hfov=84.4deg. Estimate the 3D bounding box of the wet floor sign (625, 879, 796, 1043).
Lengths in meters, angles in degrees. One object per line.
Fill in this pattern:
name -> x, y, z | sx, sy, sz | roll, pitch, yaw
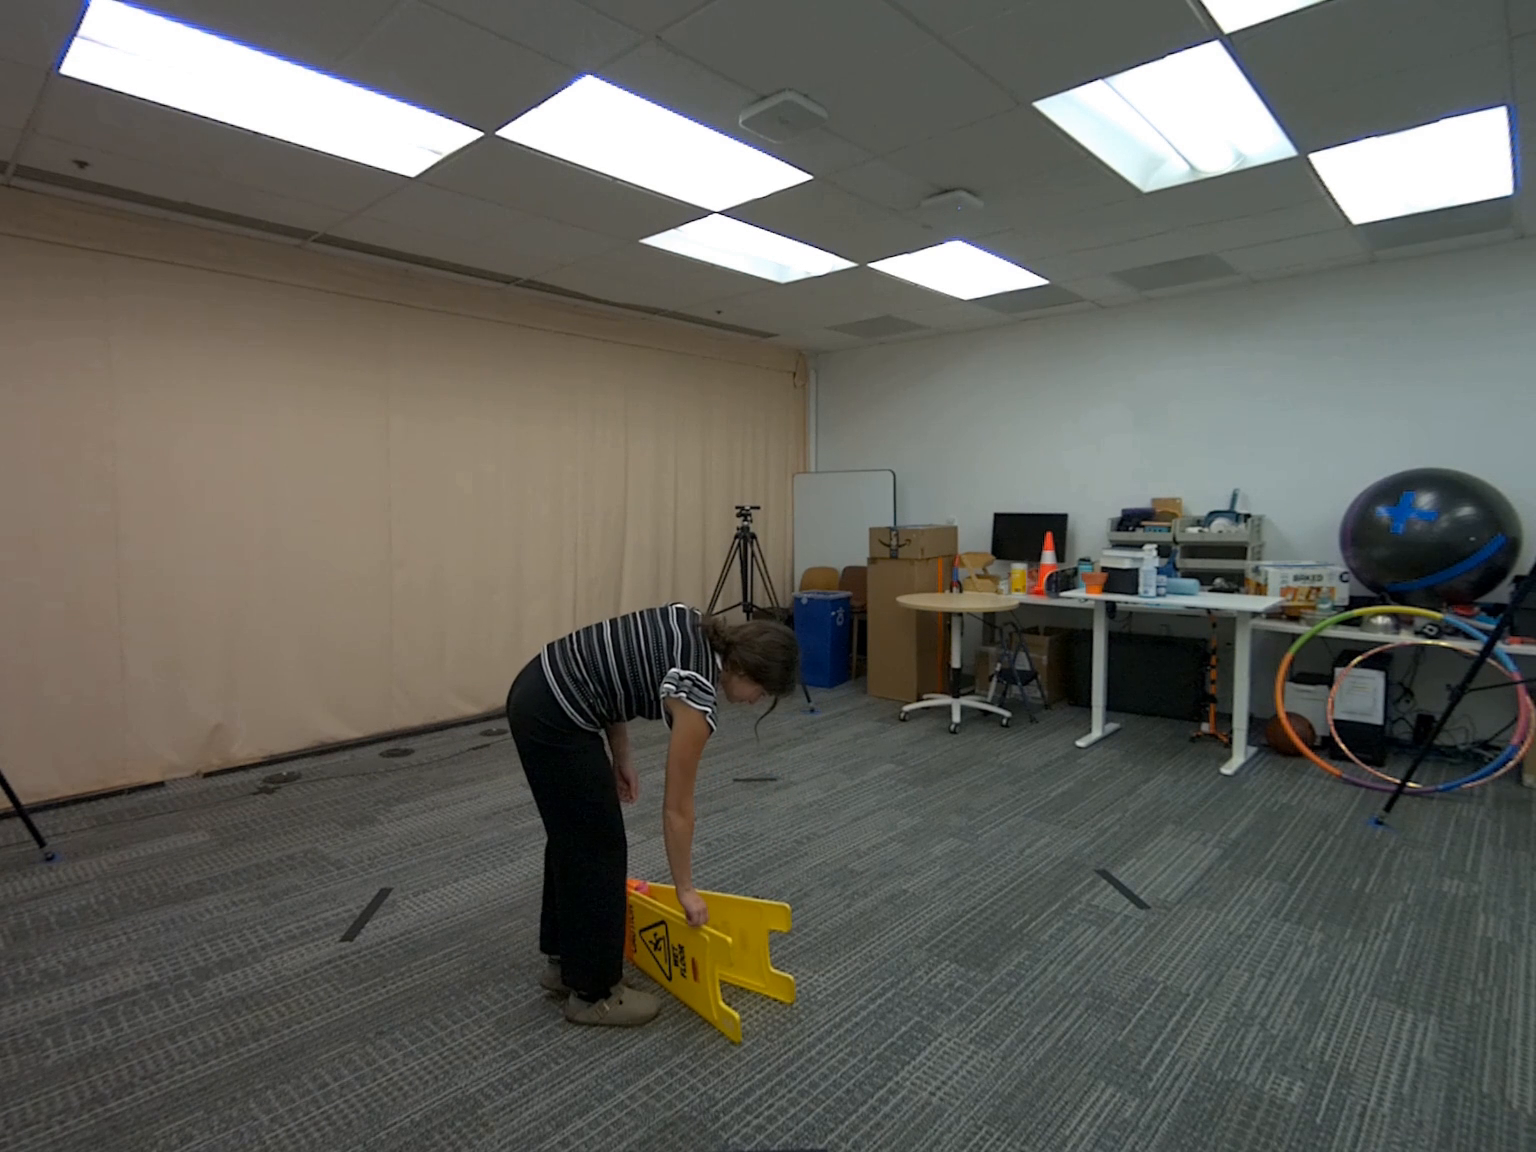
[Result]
wet floor sign -> -0.263, 1.064, 2.467 | 0.667, 0.282, 0.281 | 0, 4, 40
